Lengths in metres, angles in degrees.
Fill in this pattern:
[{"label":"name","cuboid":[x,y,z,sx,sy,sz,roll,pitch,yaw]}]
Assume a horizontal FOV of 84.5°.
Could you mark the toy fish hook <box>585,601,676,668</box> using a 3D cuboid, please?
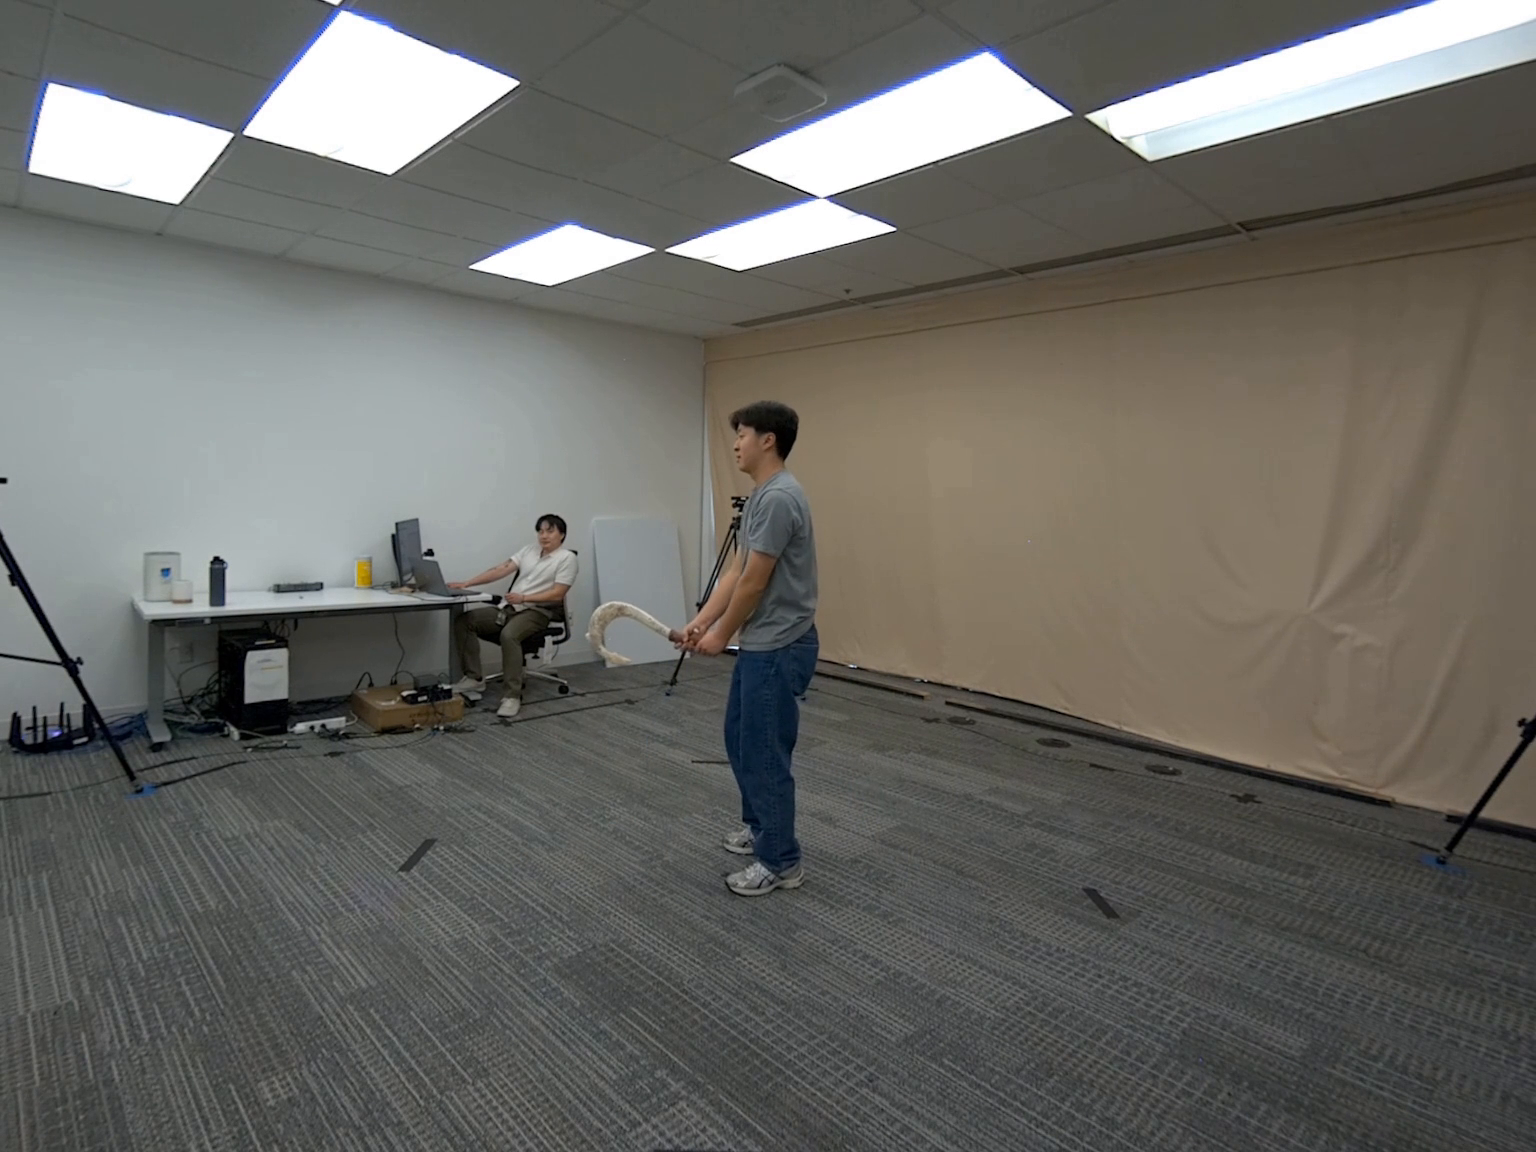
[{"label":"toy fish hook","cuboid":[-0.420,0.246,3.093,0.512,0.224,0.048,16,-1,10]}]
